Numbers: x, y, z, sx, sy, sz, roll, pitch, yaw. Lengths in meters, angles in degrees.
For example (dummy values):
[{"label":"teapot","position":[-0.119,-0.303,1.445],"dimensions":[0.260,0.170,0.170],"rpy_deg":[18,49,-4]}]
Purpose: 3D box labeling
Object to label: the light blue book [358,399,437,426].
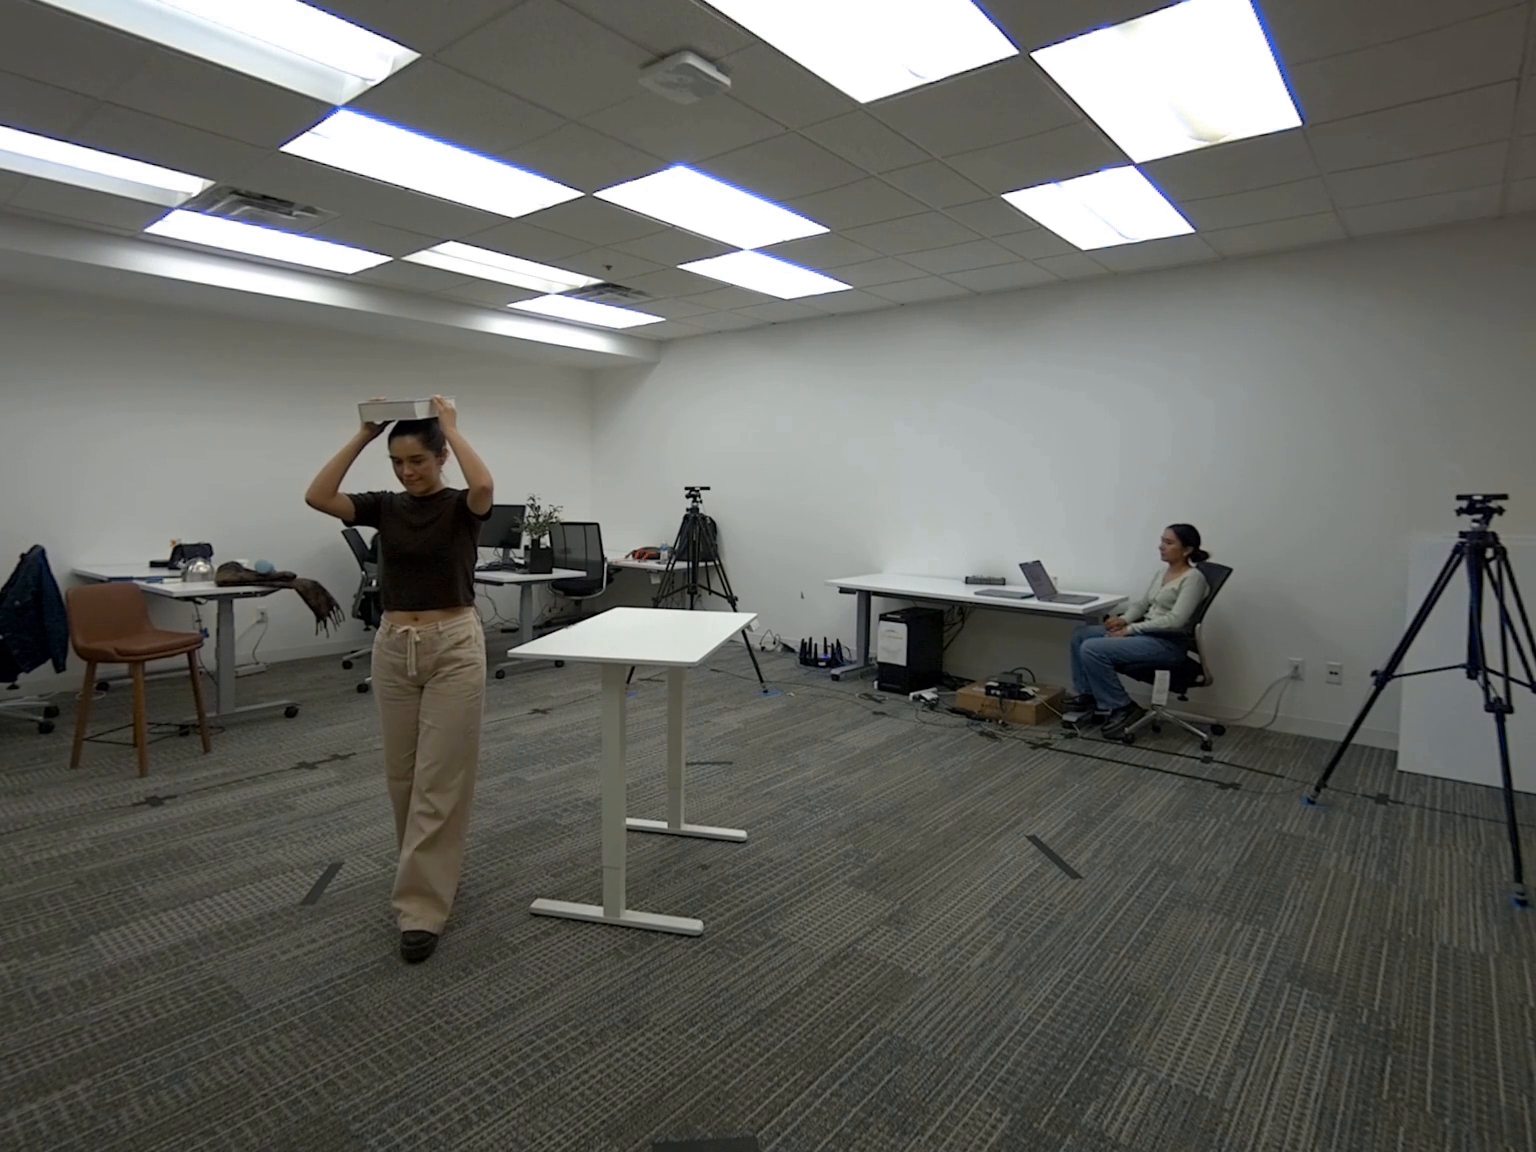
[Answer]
[{"label":"light blue book","position":[-1.132,-0.529,2.660],"dimensions":[0.192,0.058,0.263],"rpy_deg":[-1,15,4]}]
